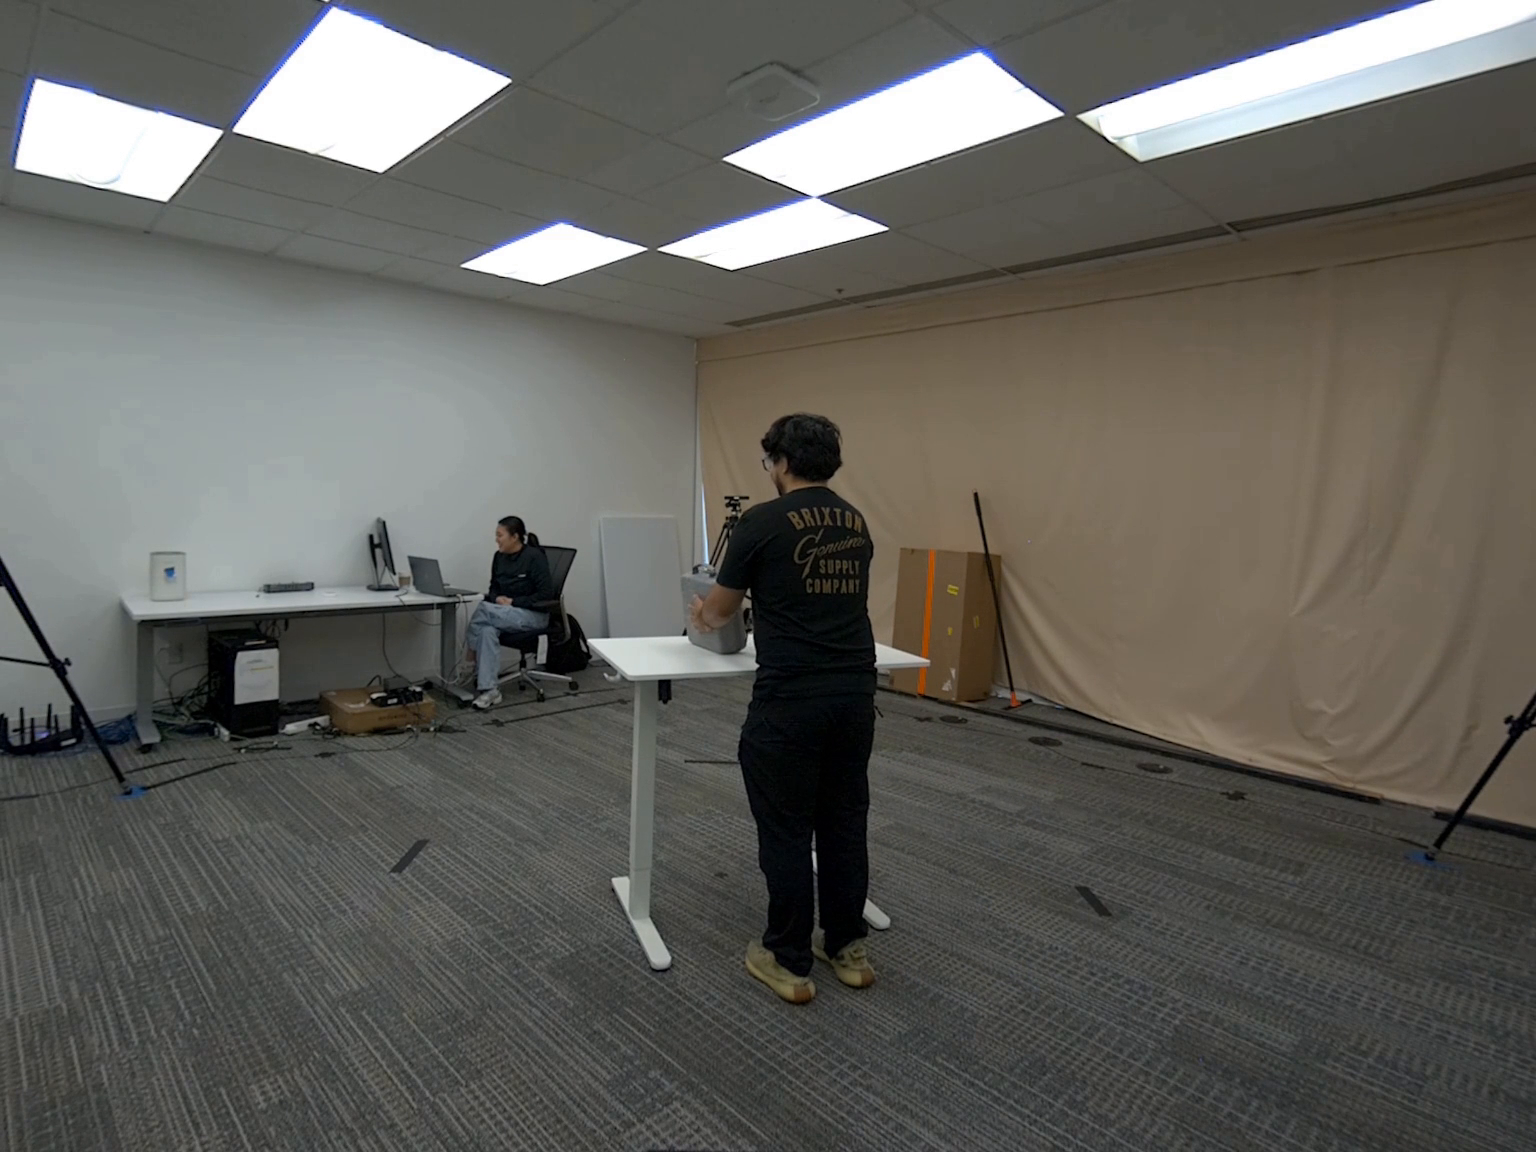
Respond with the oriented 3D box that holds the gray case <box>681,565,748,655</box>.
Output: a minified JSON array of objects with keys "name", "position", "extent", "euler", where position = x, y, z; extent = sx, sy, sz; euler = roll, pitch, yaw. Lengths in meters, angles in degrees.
[{"name":"gray case","position":[-0.191,0.115,2.807],"extent":[0.103,0.258,0.263],"euler":[-12,11,-29]}]
